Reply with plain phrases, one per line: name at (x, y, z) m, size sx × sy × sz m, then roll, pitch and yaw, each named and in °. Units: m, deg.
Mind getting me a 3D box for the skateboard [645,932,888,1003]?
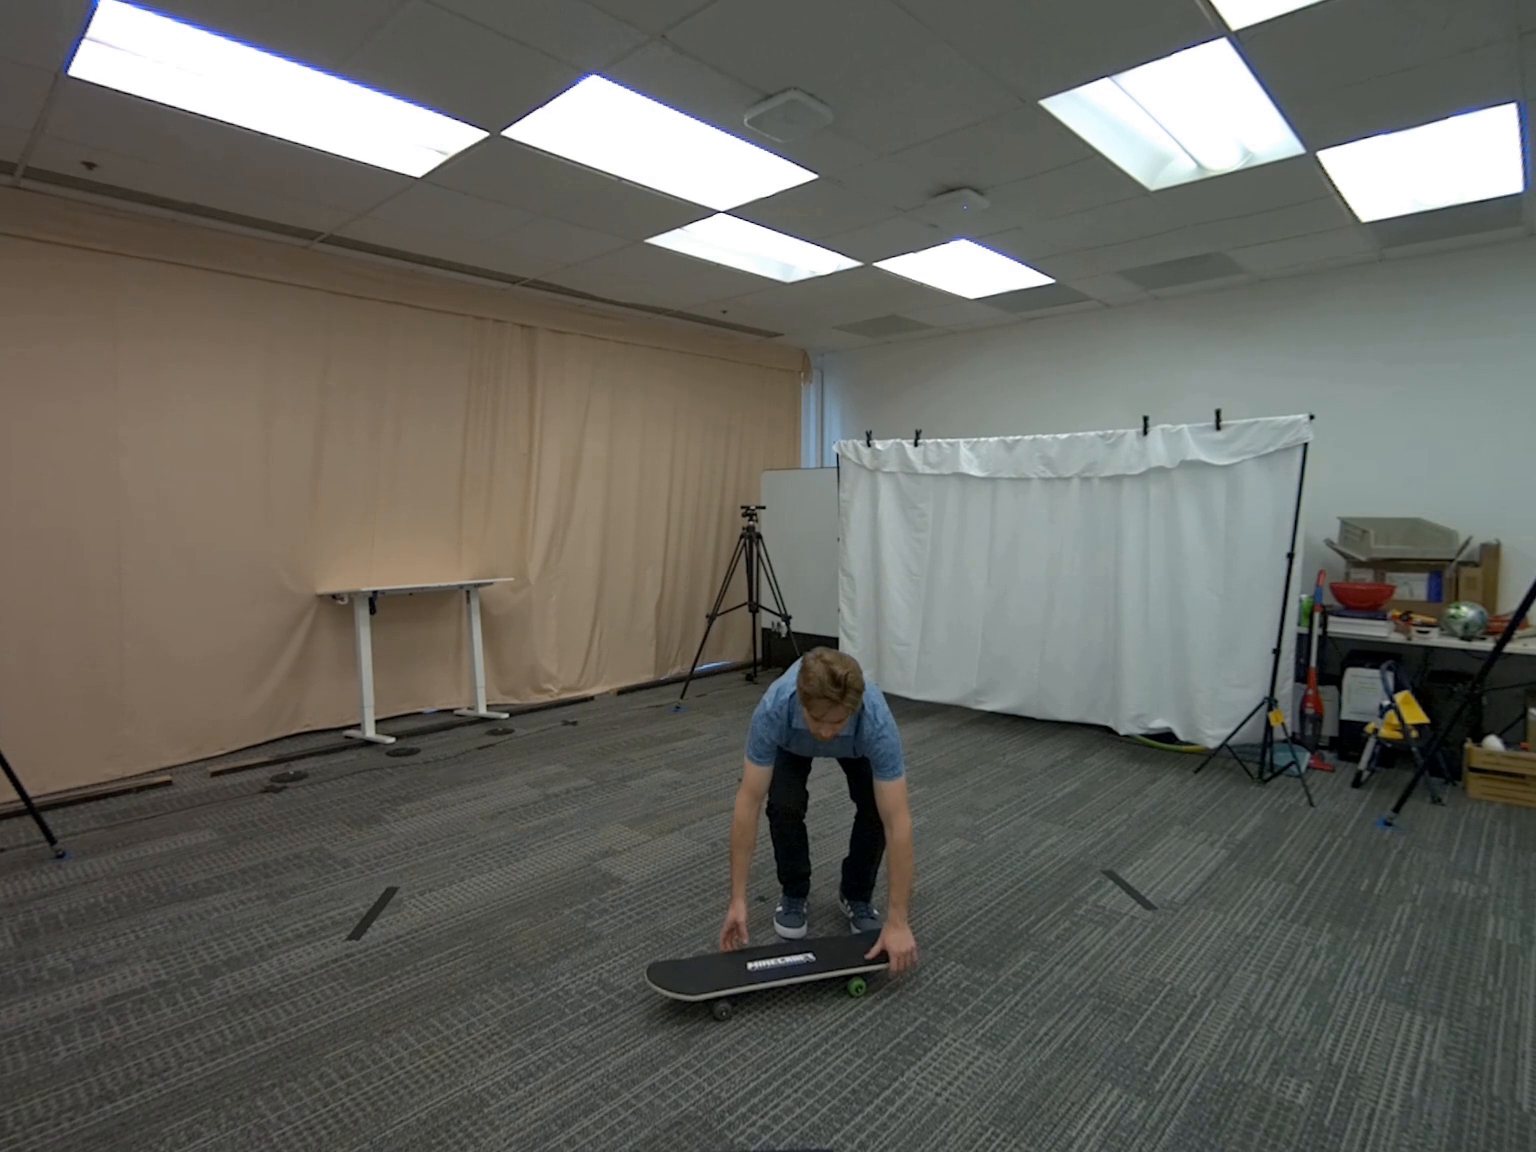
skateboard at (0.050, 1.135, 2.408) m, size 0.773 × 0.110 × 0.197 m, roll -1°, pitch 4°, yaw -15°
